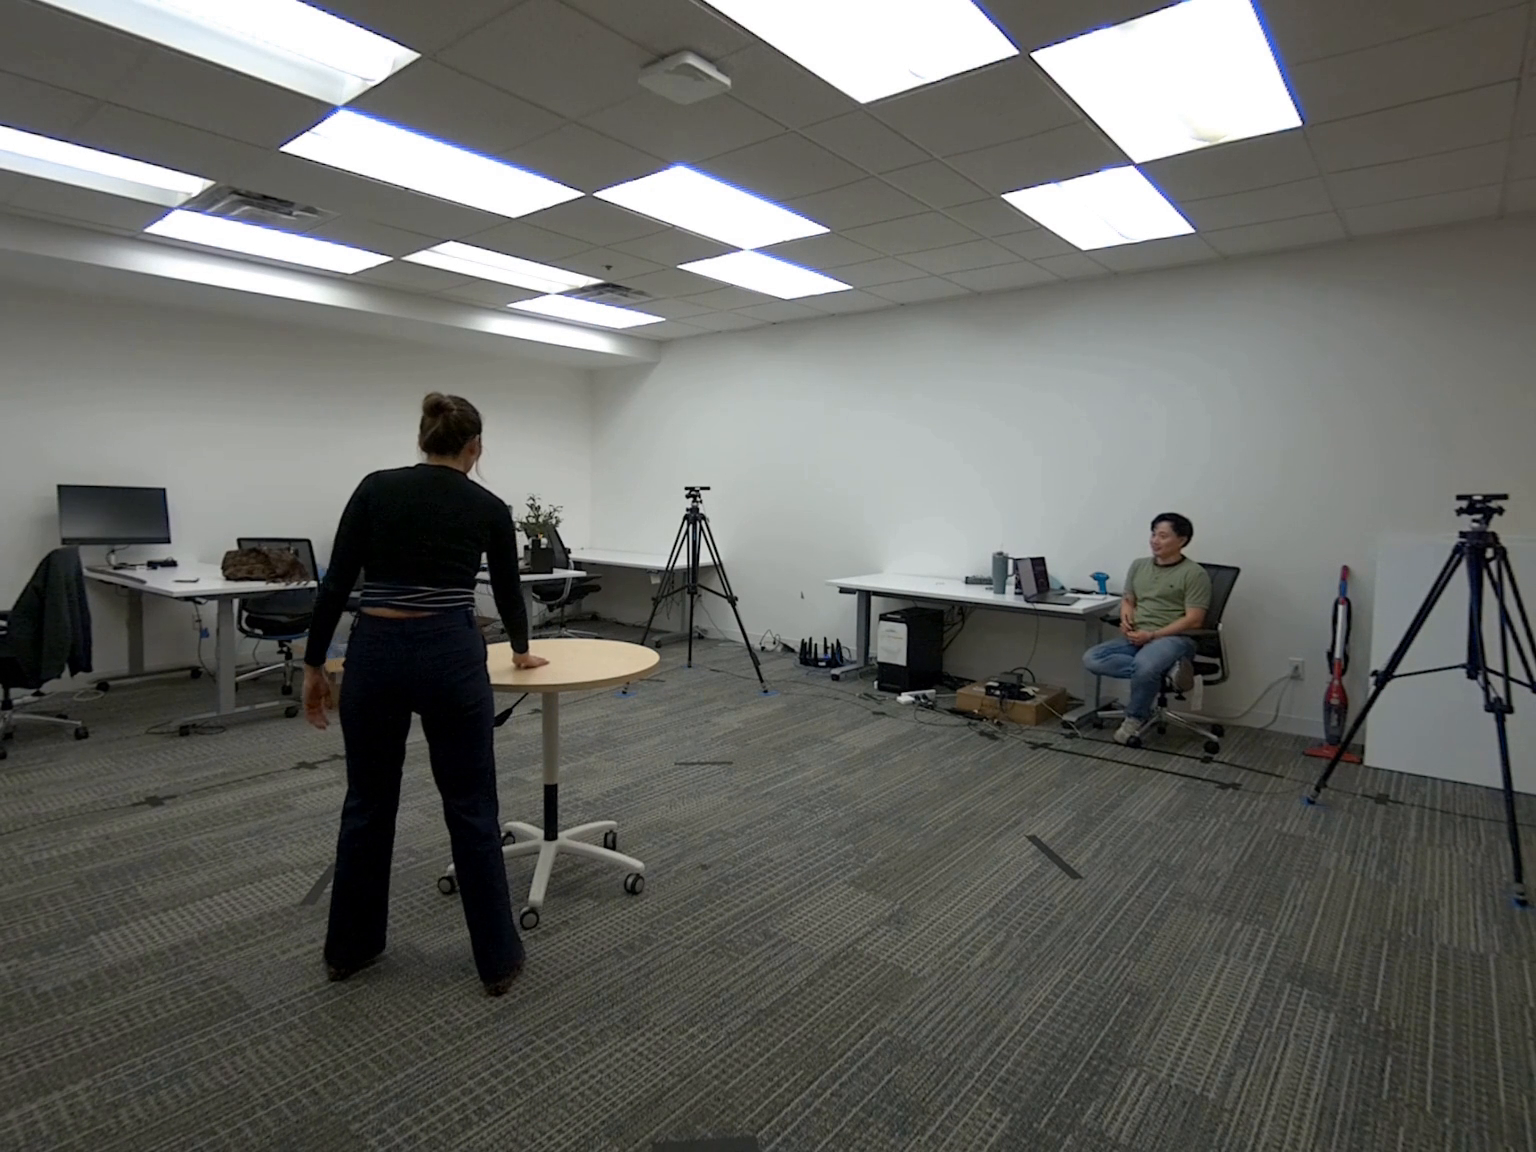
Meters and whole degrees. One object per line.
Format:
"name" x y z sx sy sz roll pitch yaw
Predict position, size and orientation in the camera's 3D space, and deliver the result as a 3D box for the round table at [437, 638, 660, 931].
"round table" -0.776 0.681 2.997 0.763 0.791 0.768 0 4 -2
